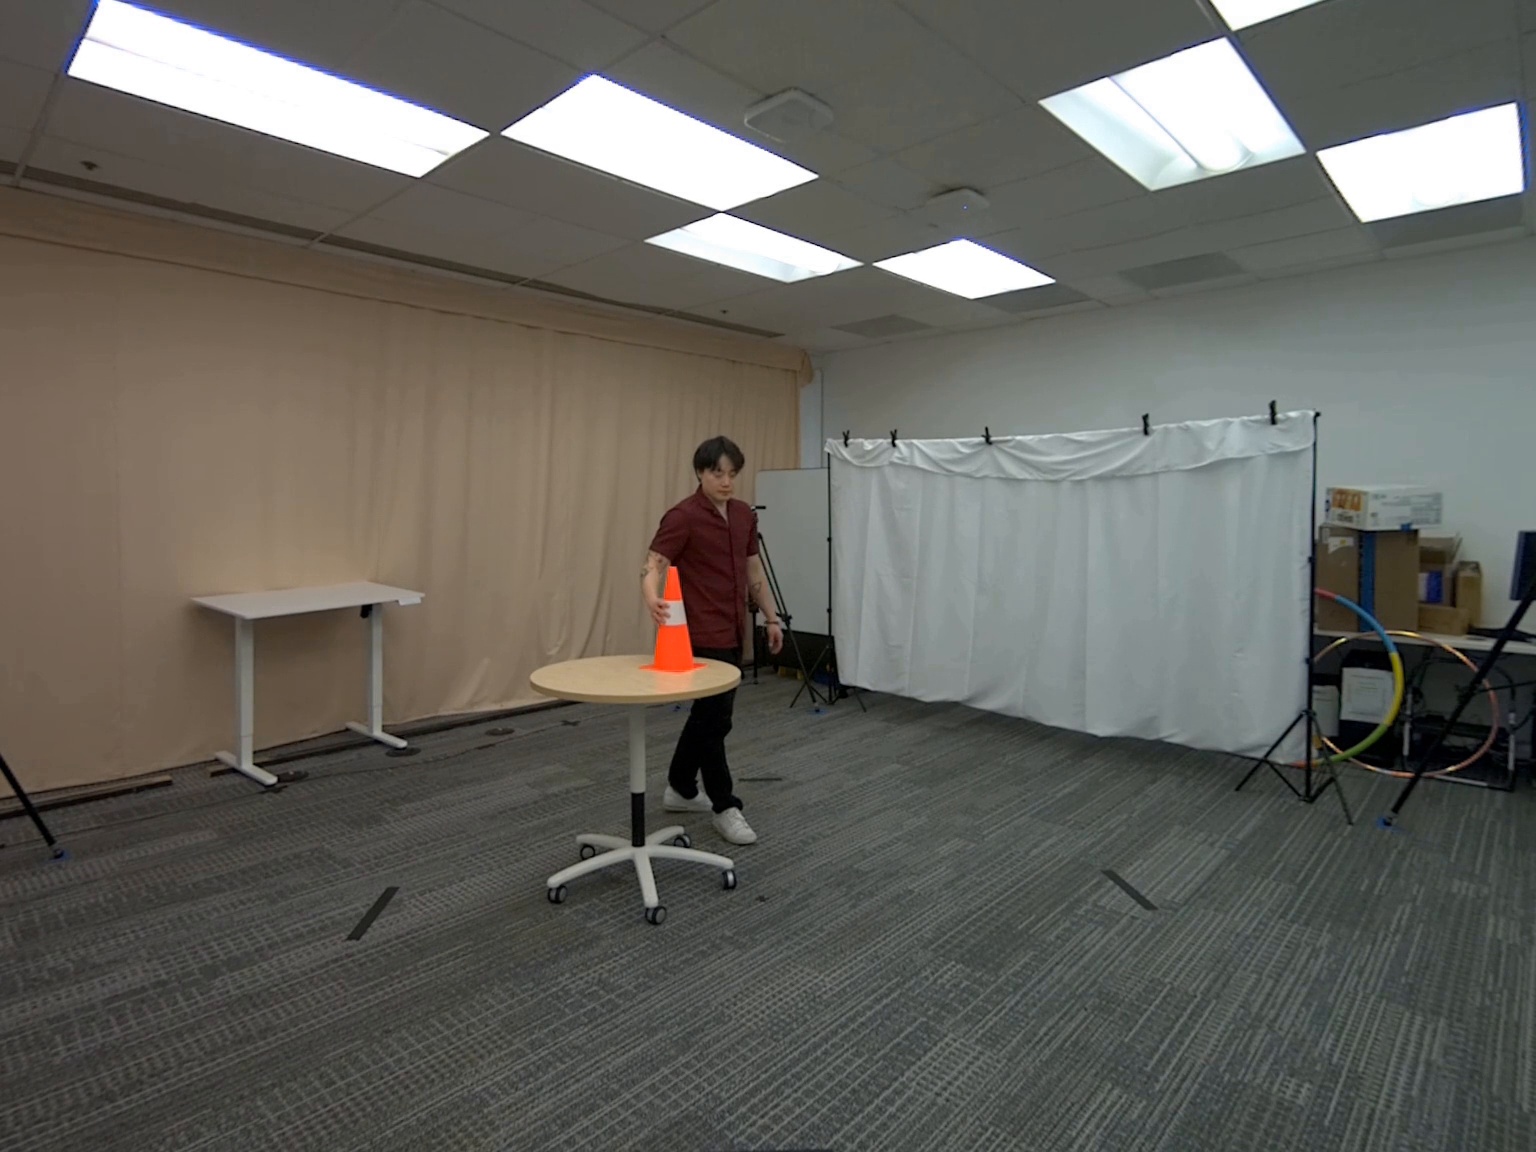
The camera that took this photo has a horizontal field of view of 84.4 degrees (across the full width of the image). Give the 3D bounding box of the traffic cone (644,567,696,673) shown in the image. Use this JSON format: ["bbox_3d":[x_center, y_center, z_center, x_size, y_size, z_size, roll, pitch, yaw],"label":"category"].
[{"bbox_3d":[-0.365,0.159,3.206,0.210,0.383,0.198,2,1,24],"label":"traffic cone"}]
